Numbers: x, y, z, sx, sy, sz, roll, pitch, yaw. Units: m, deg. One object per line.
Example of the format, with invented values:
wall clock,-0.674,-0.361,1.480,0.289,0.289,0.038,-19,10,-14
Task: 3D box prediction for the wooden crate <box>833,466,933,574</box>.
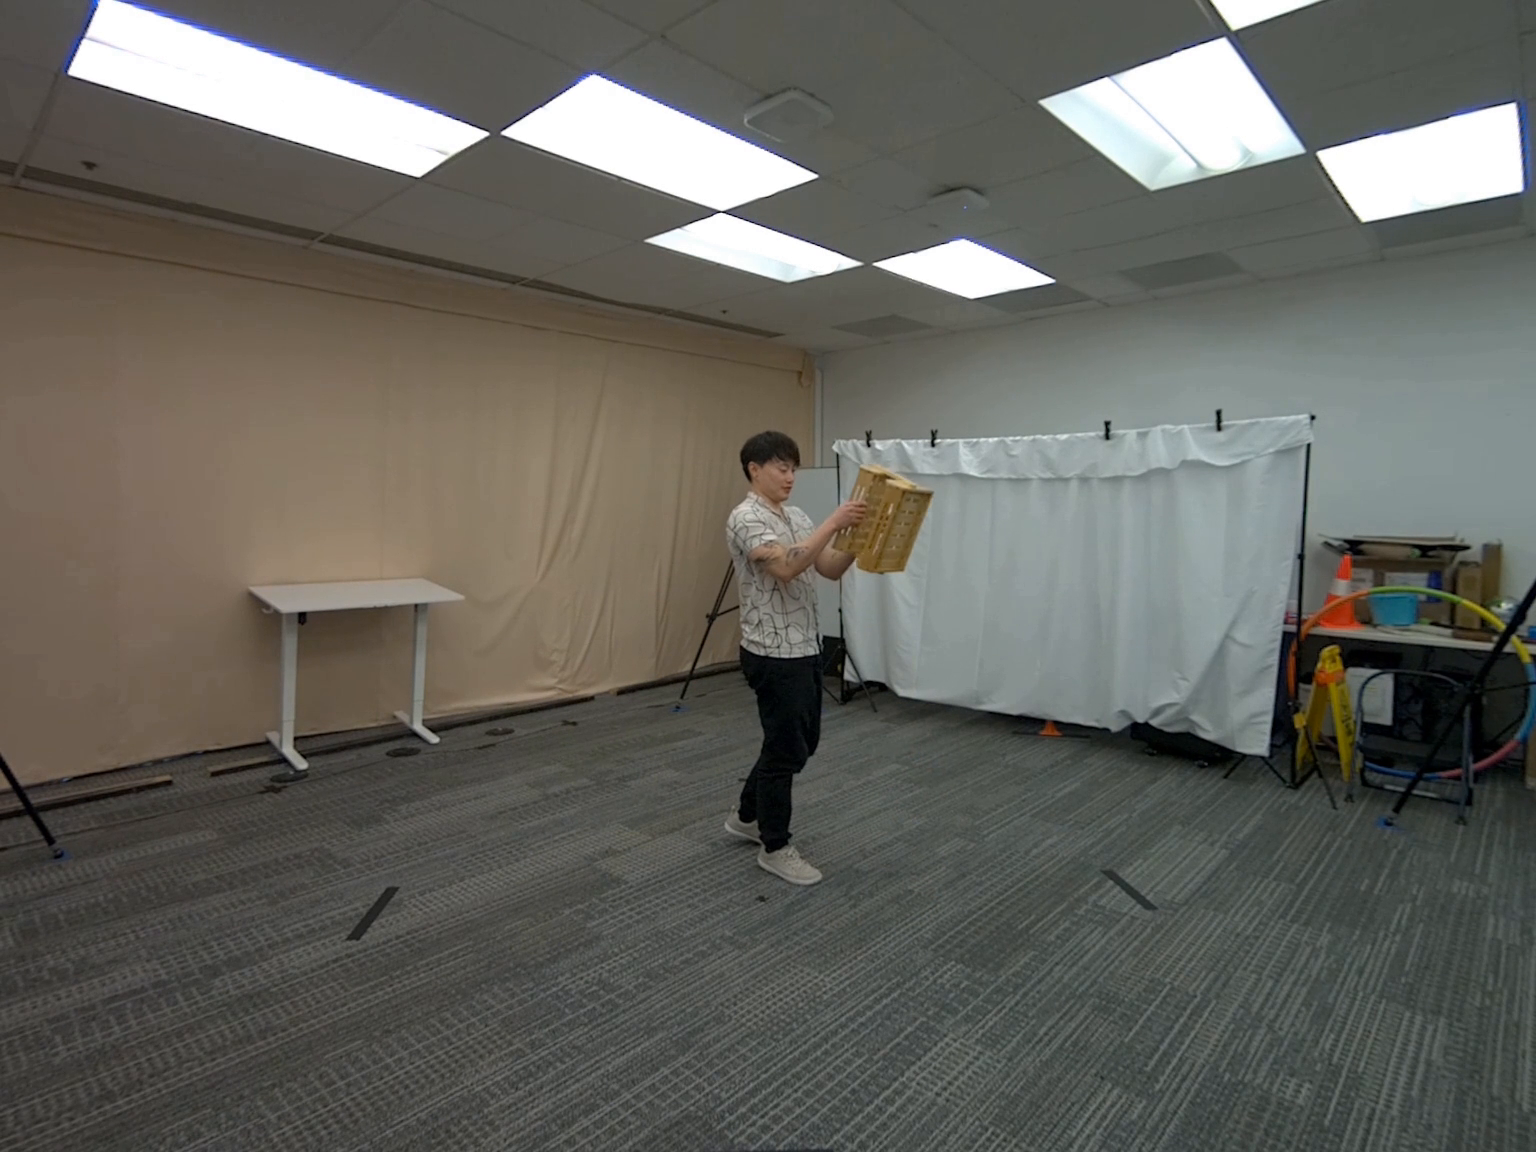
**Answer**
wooden crate,0.368,-0.202,2.930,0.283,0.323,0.292,30,18,35
